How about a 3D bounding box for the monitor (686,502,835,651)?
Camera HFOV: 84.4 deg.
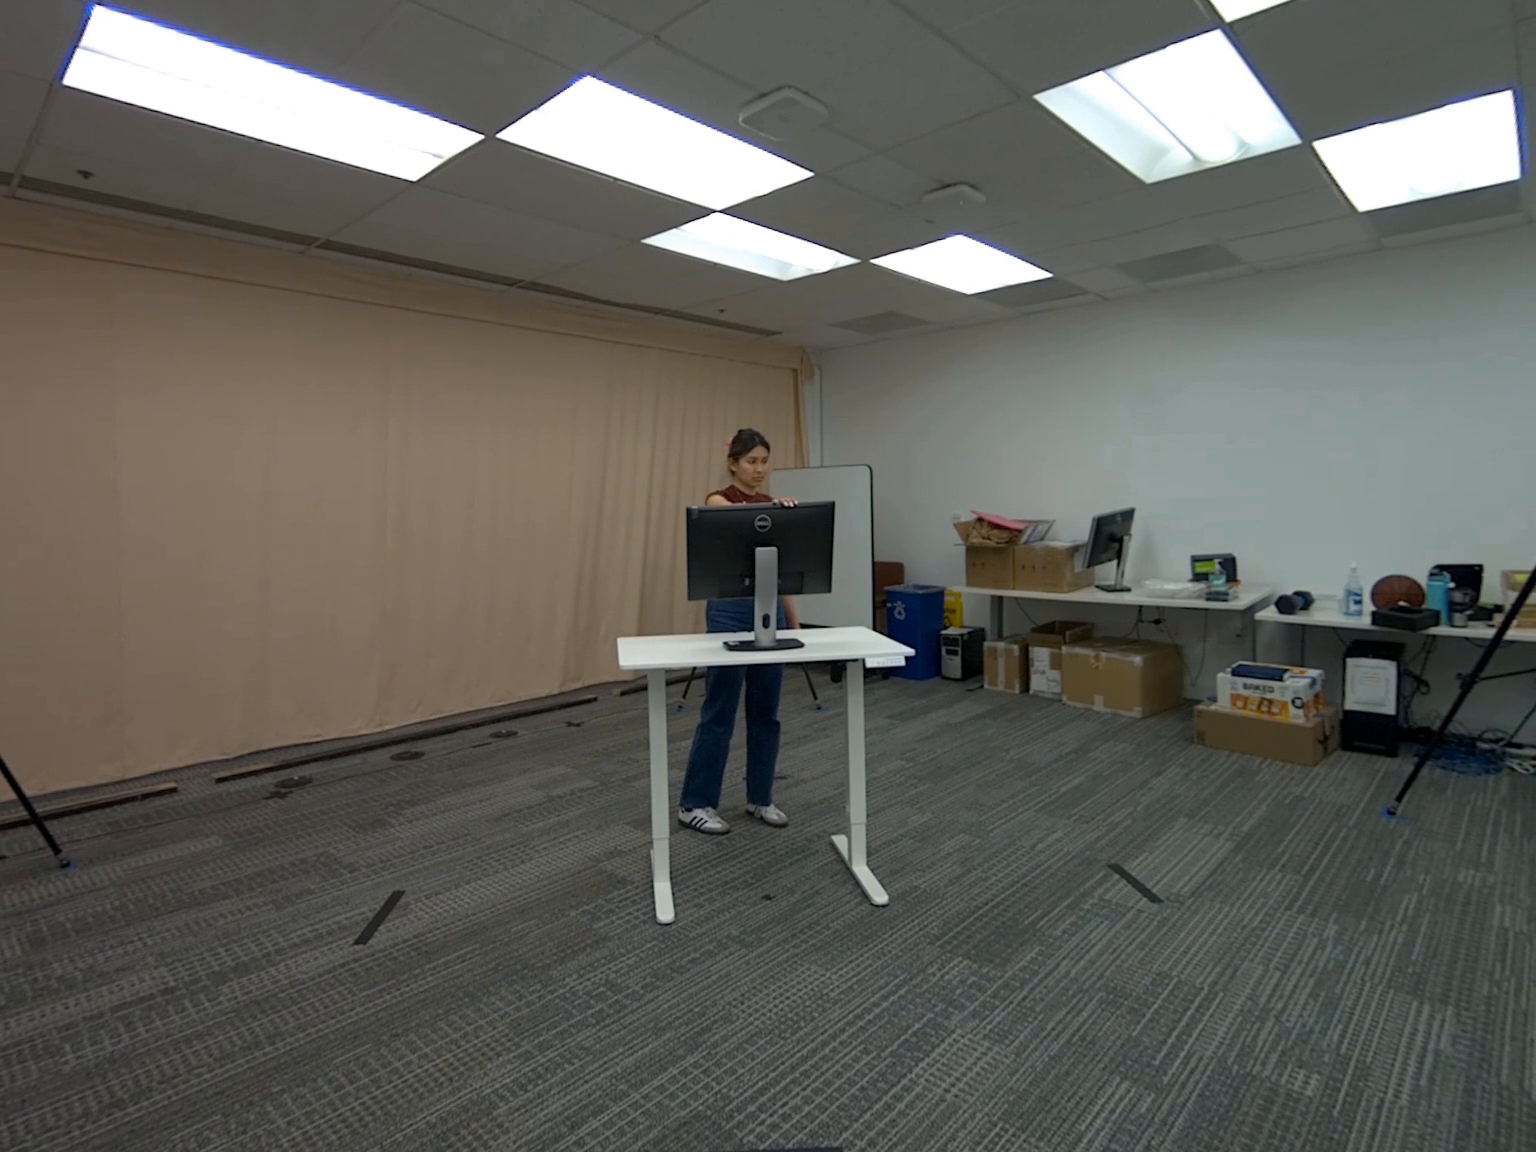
[{"bbox_3d":[-0.014,0.004,2.998,0.533,0.520,0.190,-3,6,-10],"label":"monitor"}]
